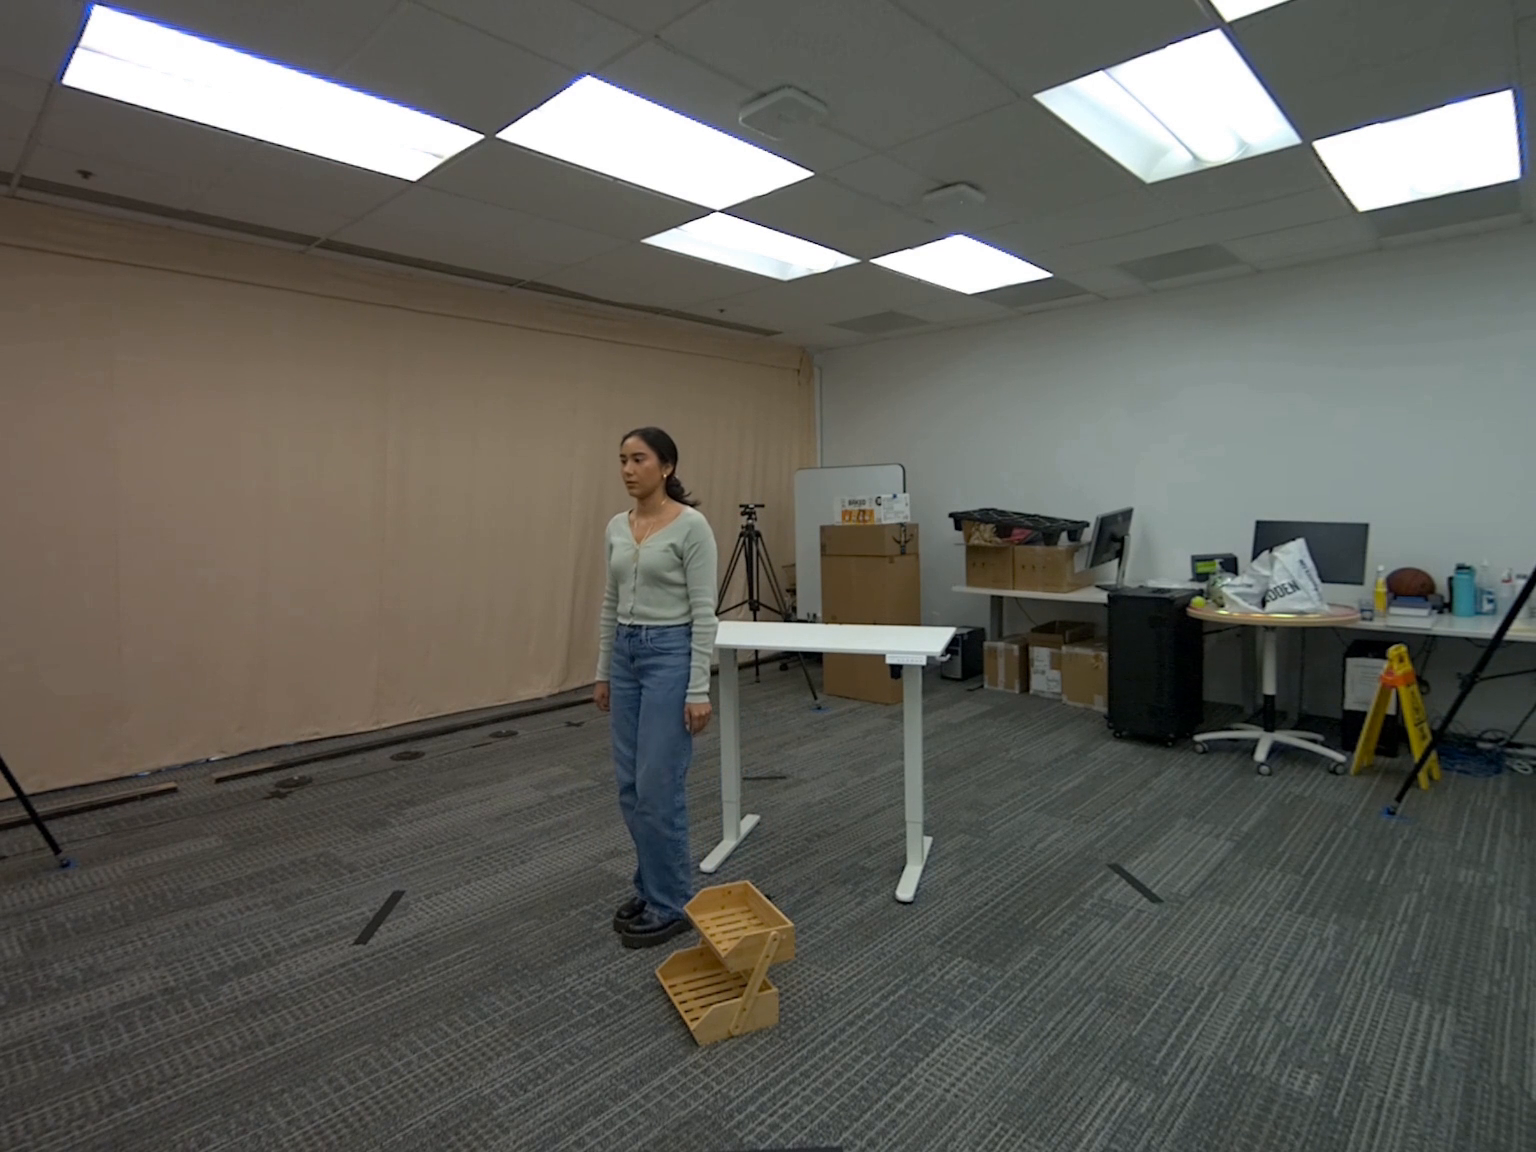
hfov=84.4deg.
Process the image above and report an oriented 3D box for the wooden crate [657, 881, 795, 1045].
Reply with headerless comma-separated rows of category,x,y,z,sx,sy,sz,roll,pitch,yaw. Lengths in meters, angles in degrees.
wooden crate,-0.127,1.065,2.344,0.295,0.273,0.333,-3,4,-25
